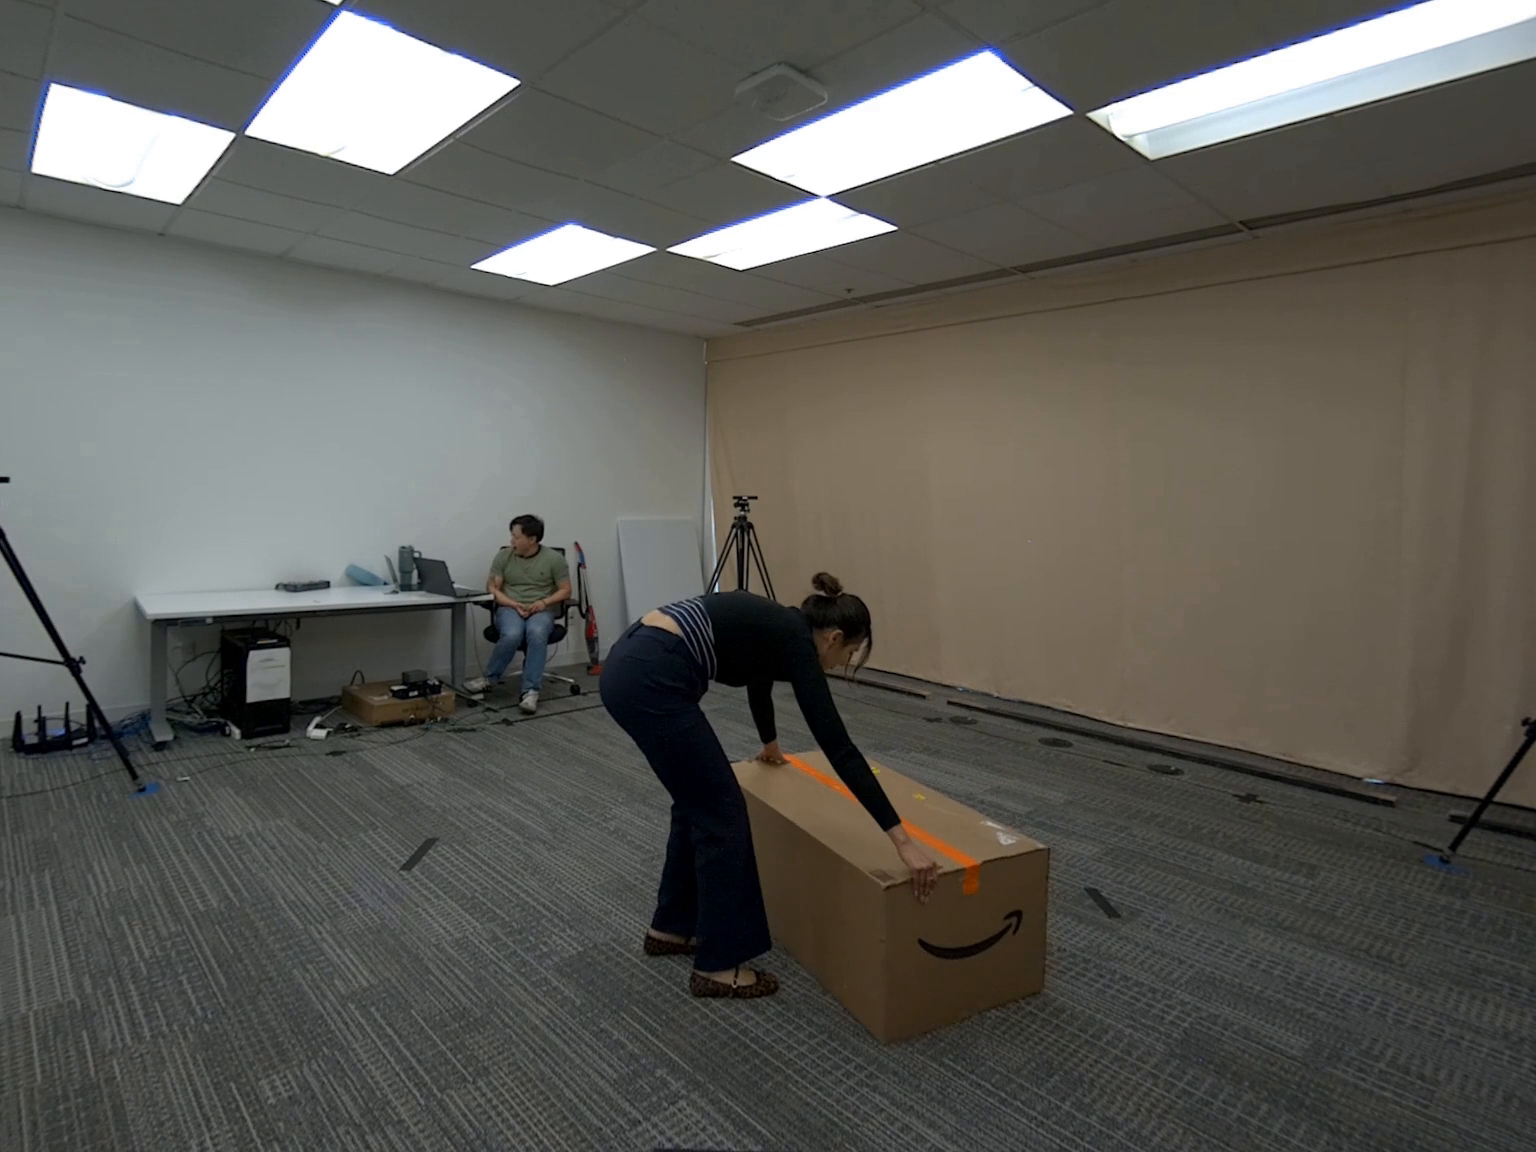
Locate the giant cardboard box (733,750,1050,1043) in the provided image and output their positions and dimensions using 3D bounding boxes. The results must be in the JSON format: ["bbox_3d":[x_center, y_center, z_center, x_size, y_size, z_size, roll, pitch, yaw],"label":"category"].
[{"bbox_3d":[0.295,0.934,2.722,0.566,0.425,1.049,-1,6,-28],"label":"giant cardboard box"}]
